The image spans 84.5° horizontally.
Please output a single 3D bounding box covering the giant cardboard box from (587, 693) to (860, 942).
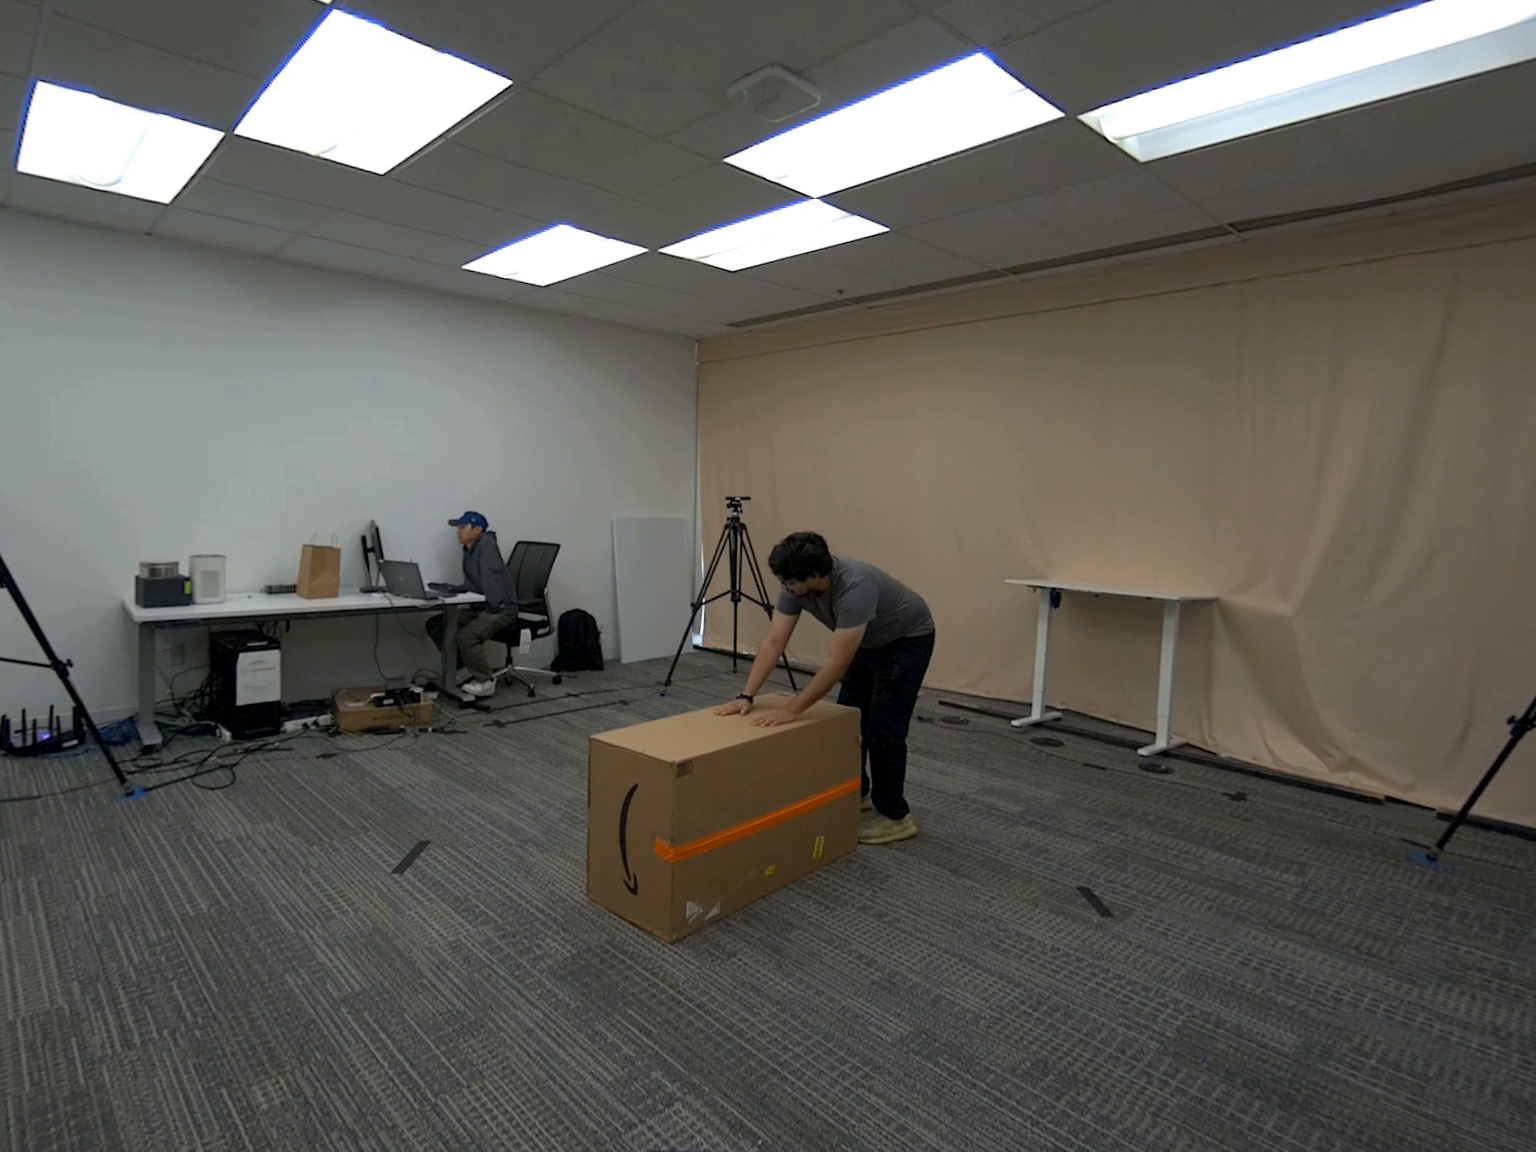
[{"bbox_3d":[-0.131,0.819,3.105,0.437,0.576,1.003,5,6,41],"label":"giant cardboard box"}]
